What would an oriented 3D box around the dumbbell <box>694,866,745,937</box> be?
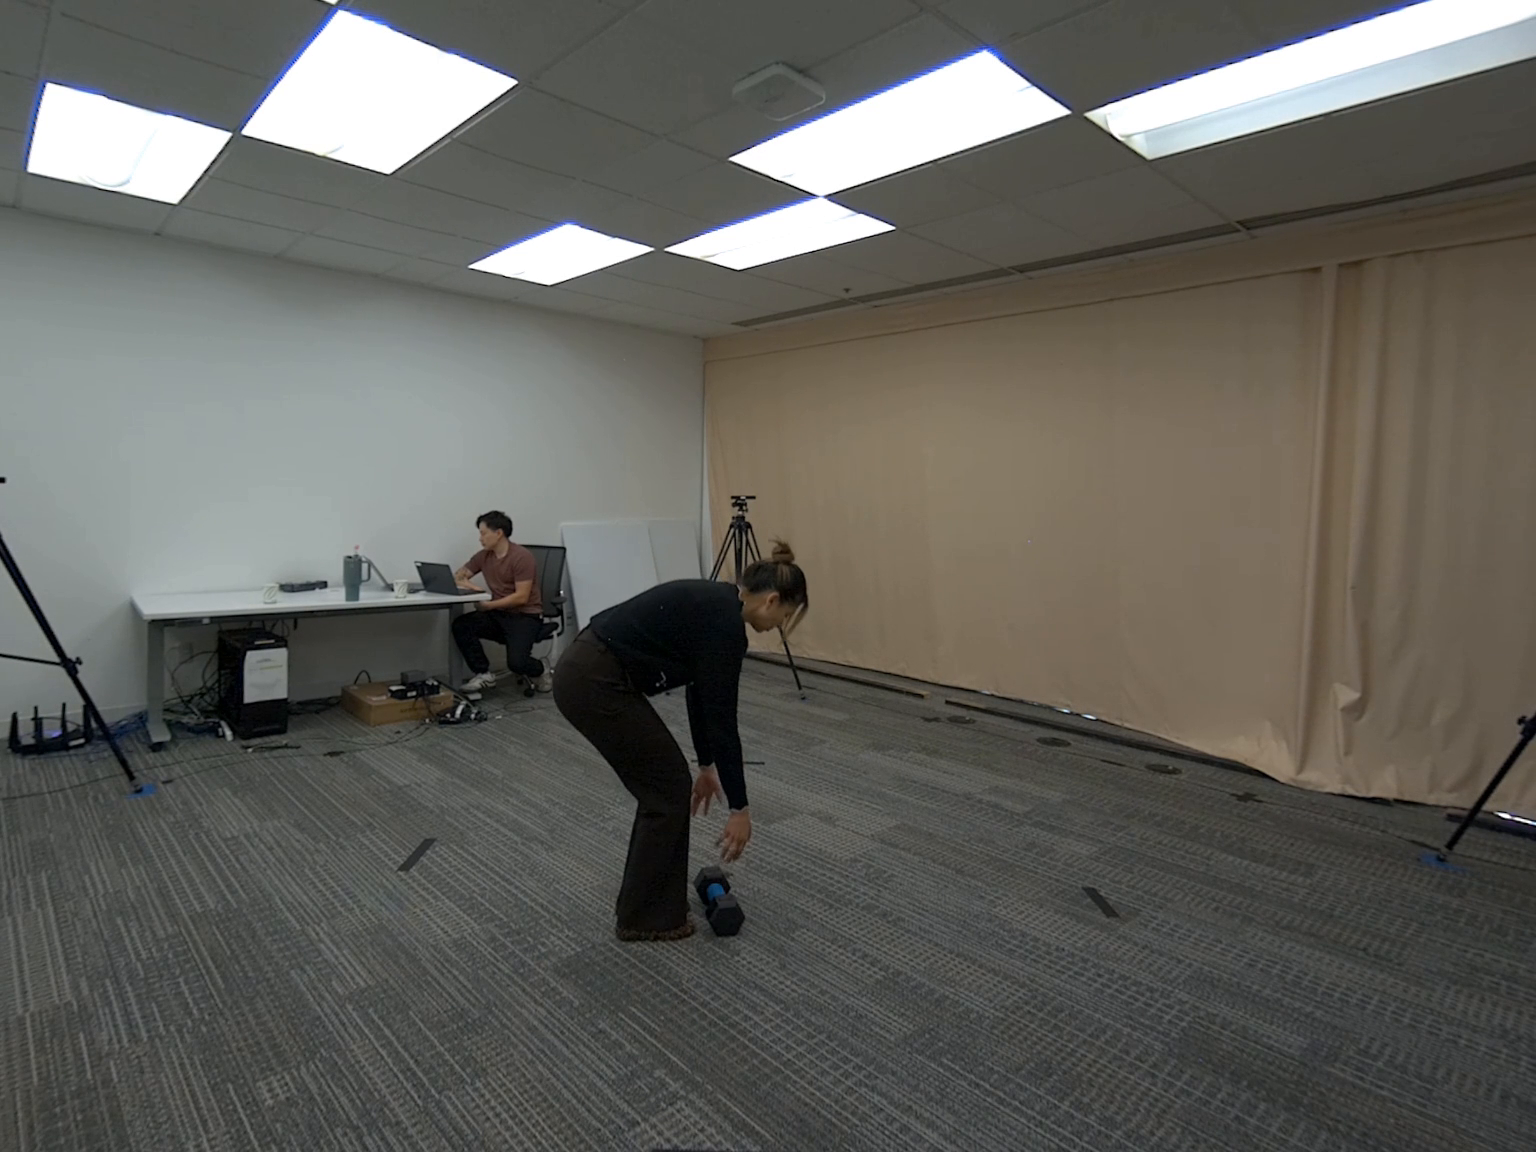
[{"bbox_3d":[-0.173,1.078,2.793,0.107,0.123,0.297,32,-2,-14],"label":"dumbbell"}]
